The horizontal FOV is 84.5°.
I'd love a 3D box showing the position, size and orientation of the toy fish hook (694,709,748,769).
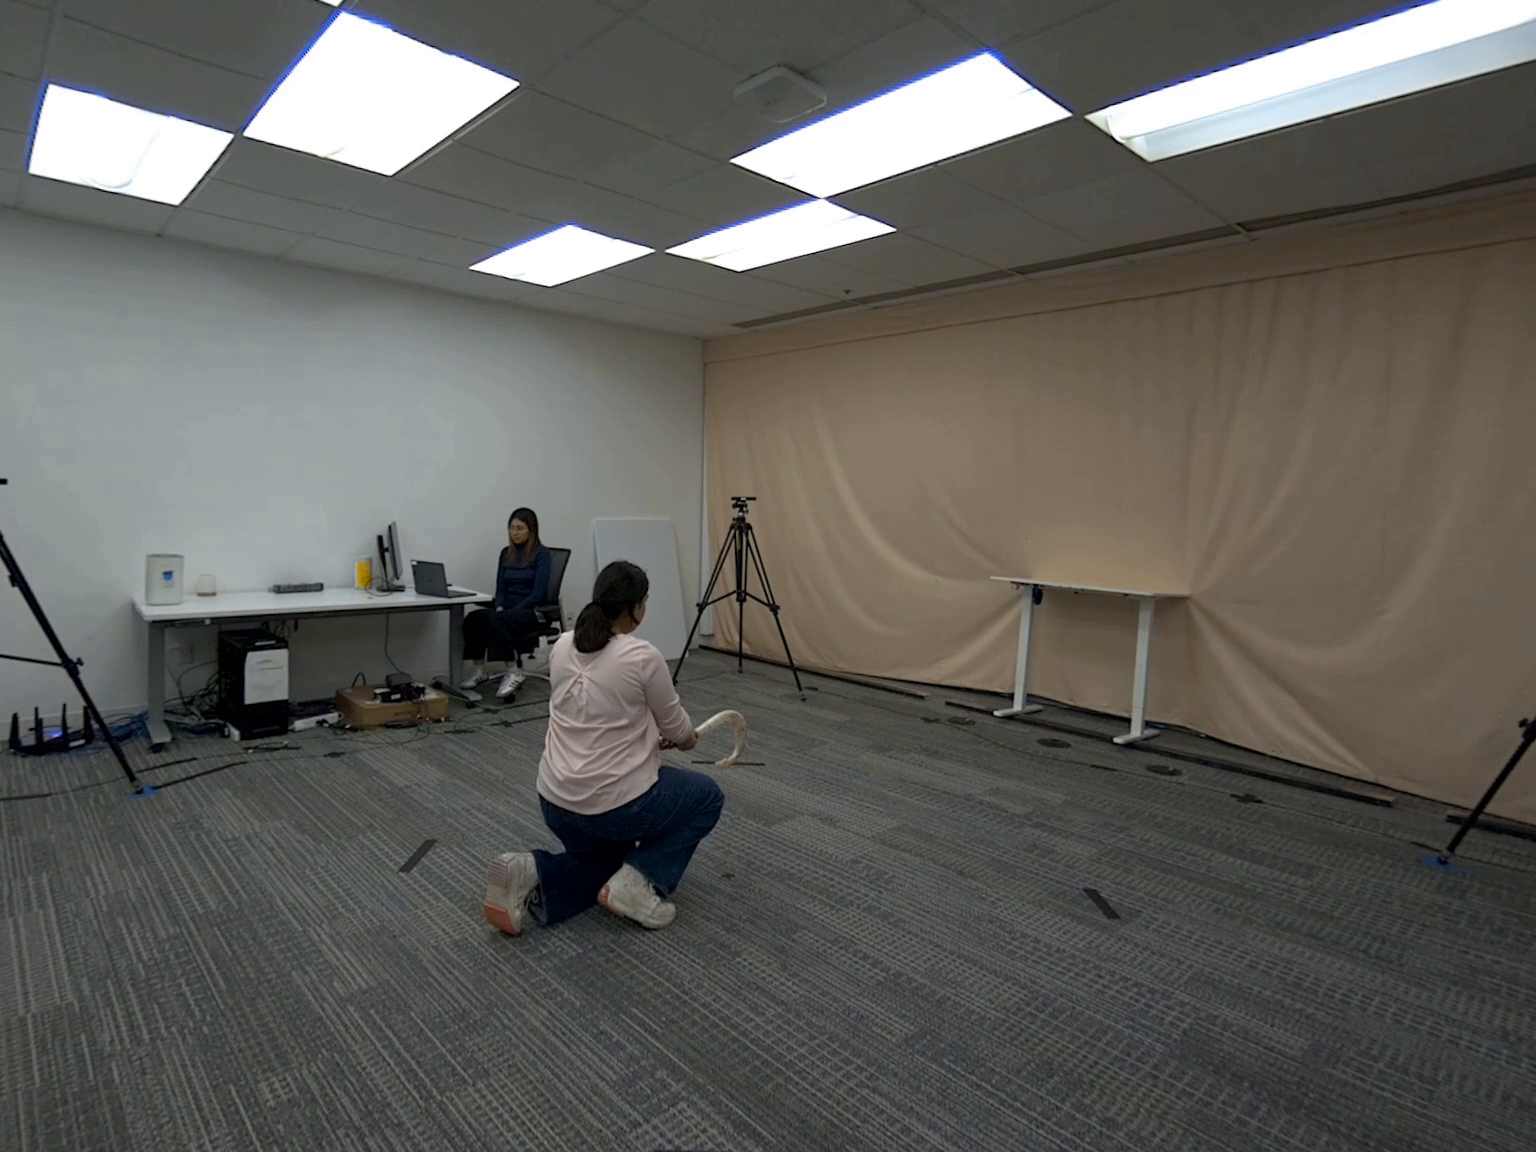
[{"bbox_3d":[-0.241,0.646,3.271,0.049,0.225,0.495,-10,-4,40],"label":"toy fish hook"}]
